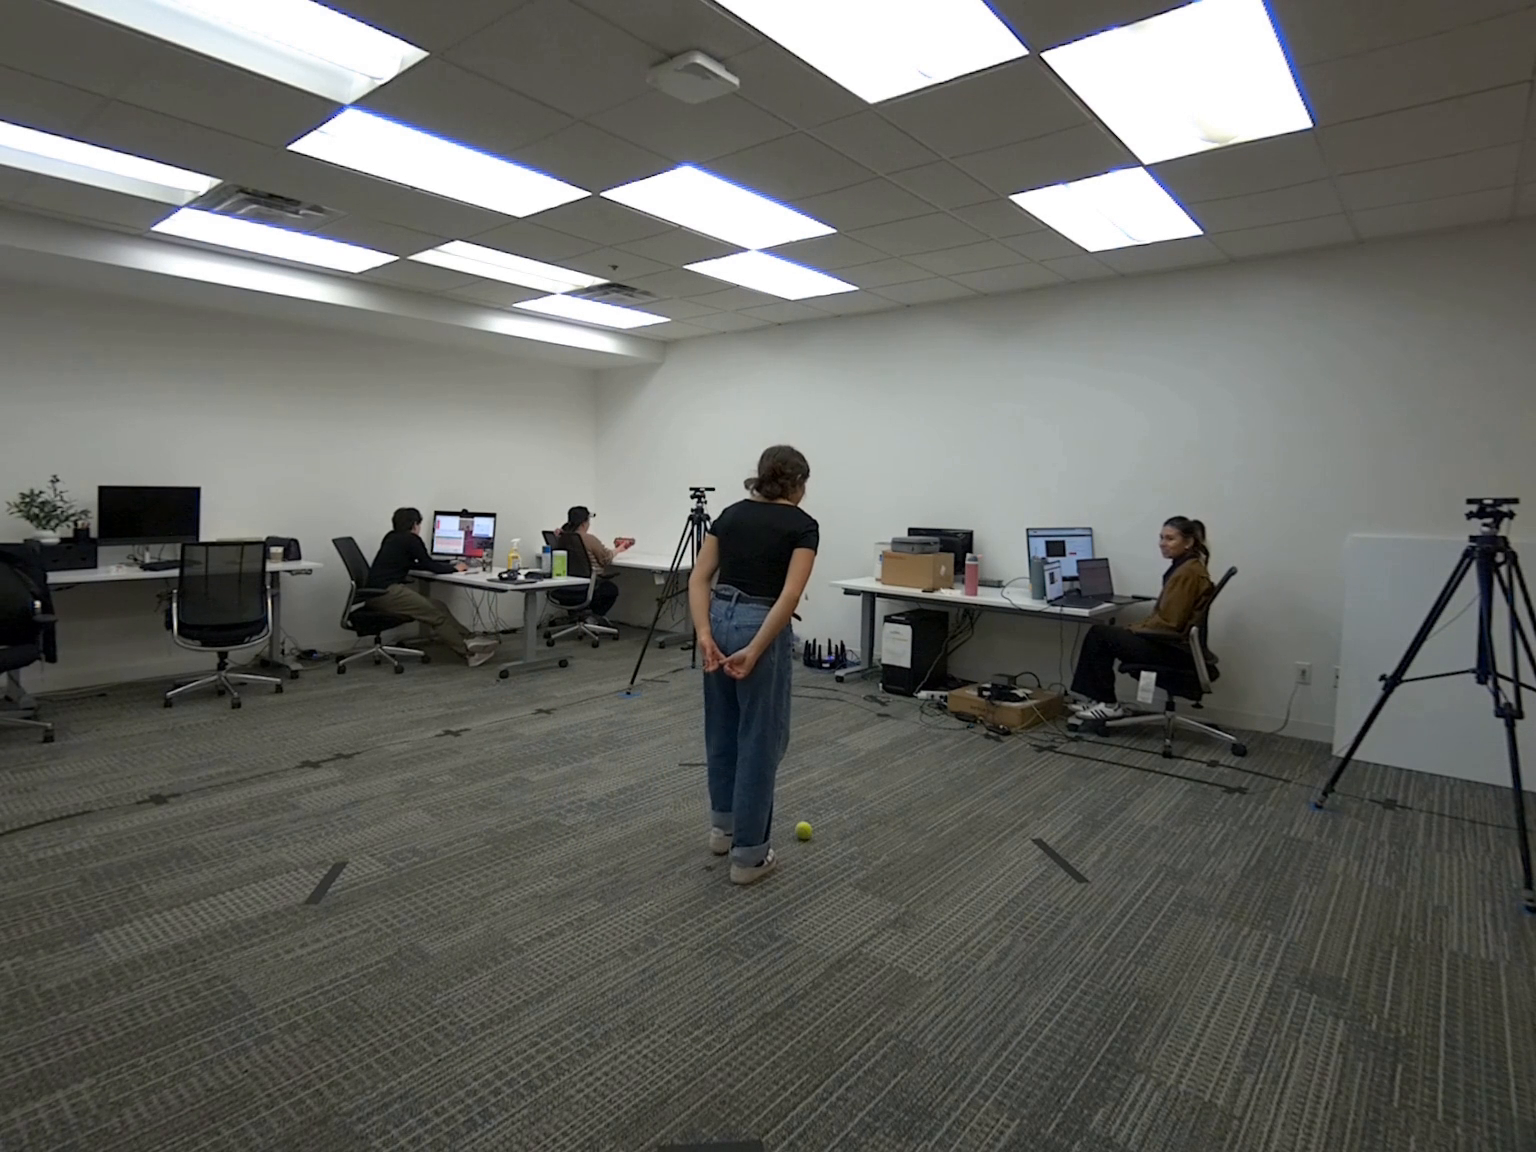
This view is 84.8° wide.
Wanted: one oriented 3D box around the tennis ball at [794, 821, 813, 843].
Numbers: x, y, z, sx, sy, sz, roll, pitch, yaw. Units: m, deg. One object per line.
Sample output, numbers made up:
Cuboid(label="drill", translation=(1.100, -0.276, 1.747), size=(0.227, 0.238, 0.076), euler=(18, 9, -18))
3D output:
Cuboid(label="tennis ball", translation=(0.136, 0.997, 3.400), size=(0.066, 0.066, 0.067), euler=(1, 4, -2))
